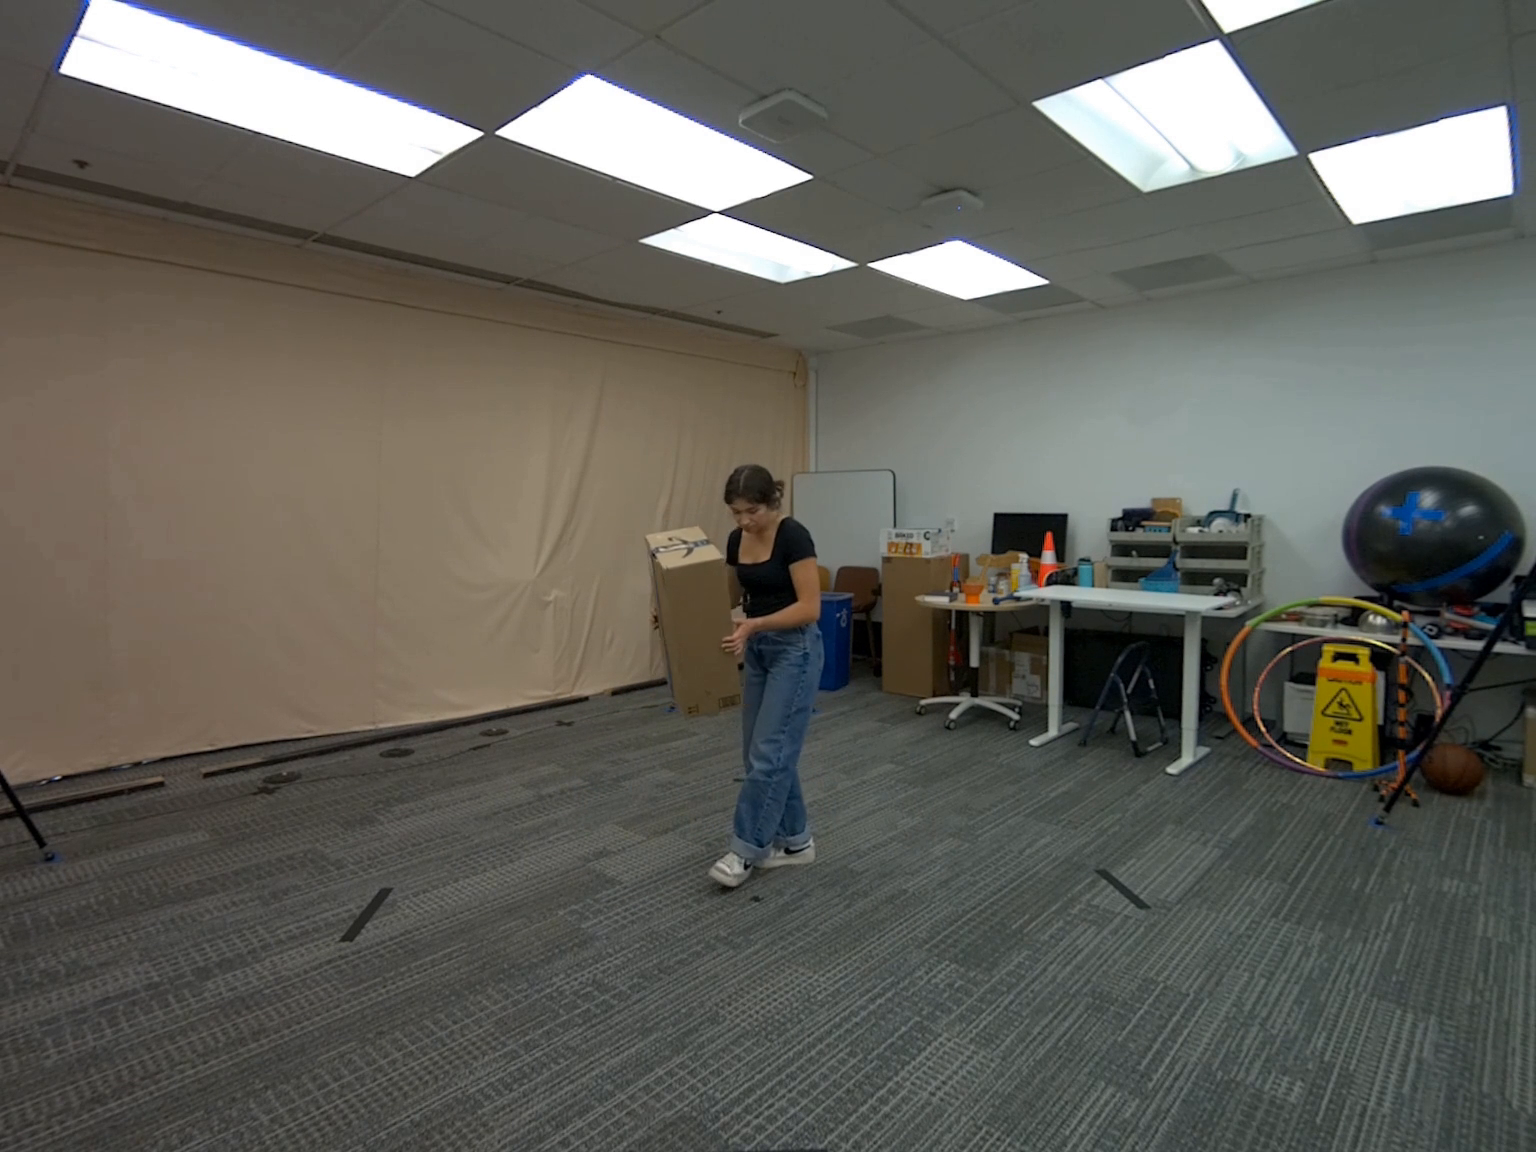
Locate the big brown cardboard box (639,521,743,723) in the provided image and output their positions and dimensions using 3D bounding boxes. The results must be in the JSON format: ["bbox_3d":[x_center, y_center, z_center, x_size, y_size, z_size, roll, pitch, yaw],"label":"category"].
[{"bbox_3d":[-0.285,0.151,3.089,0.231,0.581,0.427,-11,18,-11],"label":"big brown cardboard box"}]
